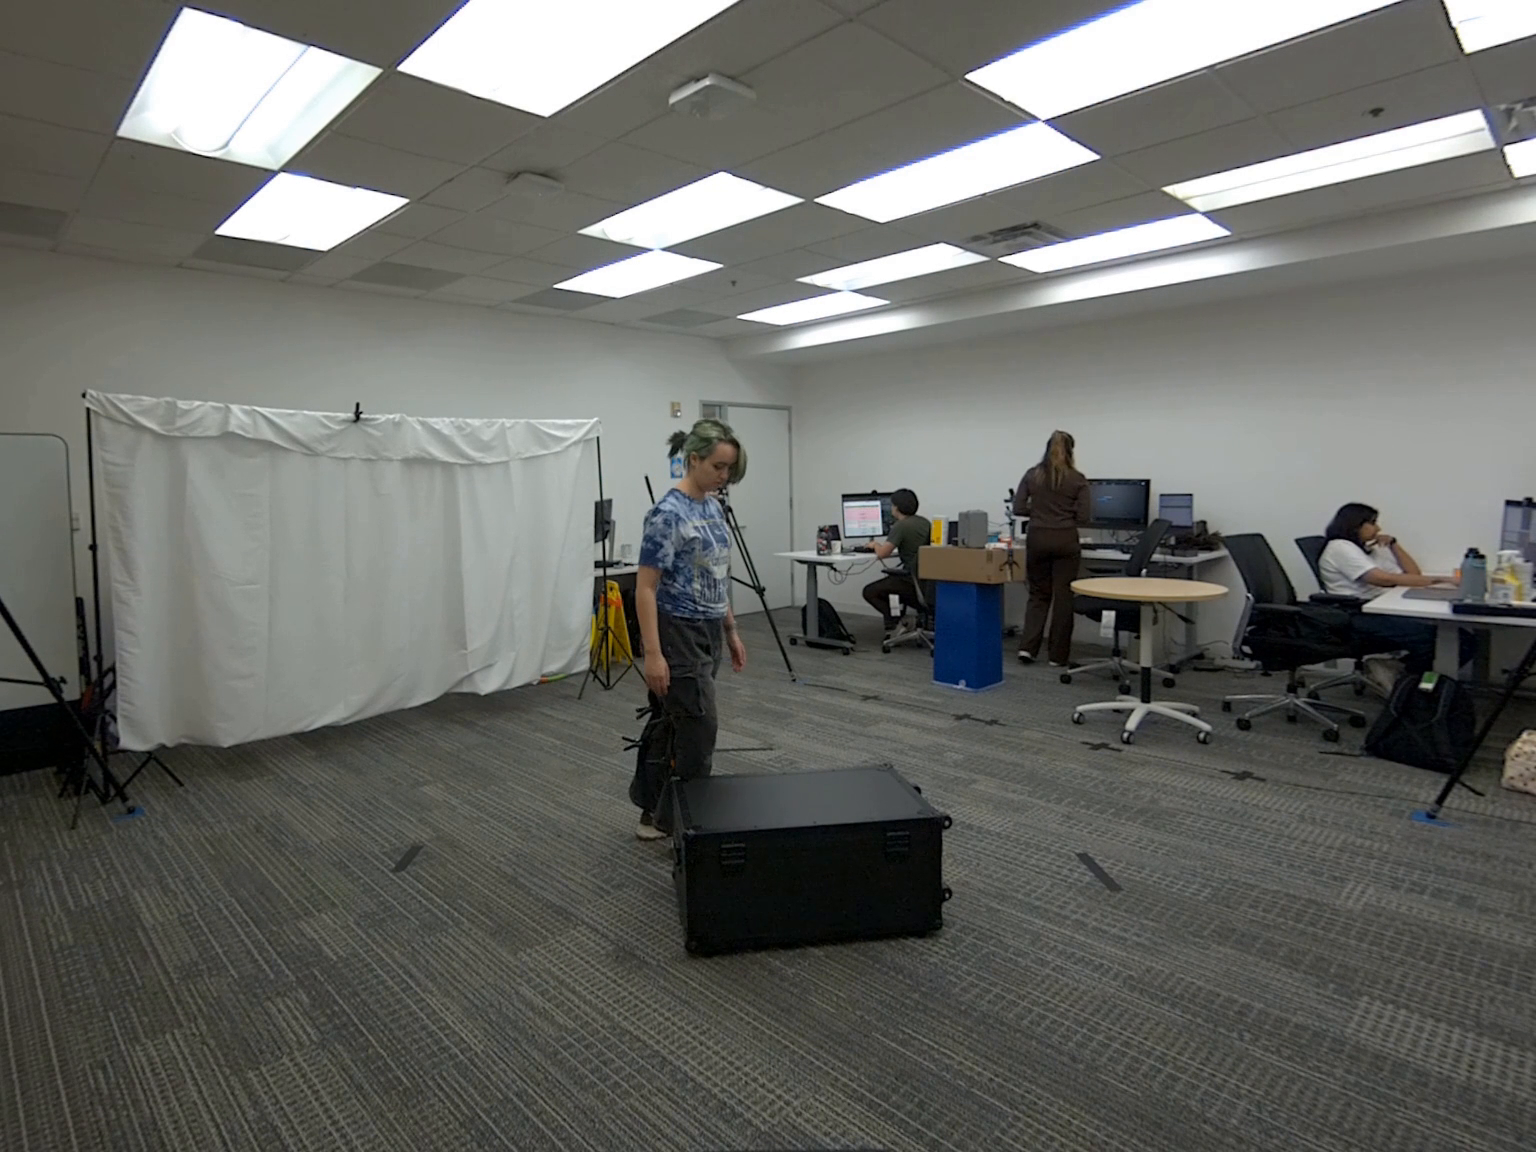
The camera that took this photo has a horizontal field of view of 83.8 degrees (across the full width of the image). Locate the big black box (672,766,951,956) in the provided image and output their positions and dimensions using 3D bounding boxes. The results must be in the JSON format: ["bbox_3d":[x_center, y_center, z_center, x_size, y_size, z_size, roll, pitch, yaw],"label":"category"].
[{"bbox_3d":[0.074,0.890,2.757,0.855,0.395,0.527,-2,5,-9],"label":"big black box"}]
